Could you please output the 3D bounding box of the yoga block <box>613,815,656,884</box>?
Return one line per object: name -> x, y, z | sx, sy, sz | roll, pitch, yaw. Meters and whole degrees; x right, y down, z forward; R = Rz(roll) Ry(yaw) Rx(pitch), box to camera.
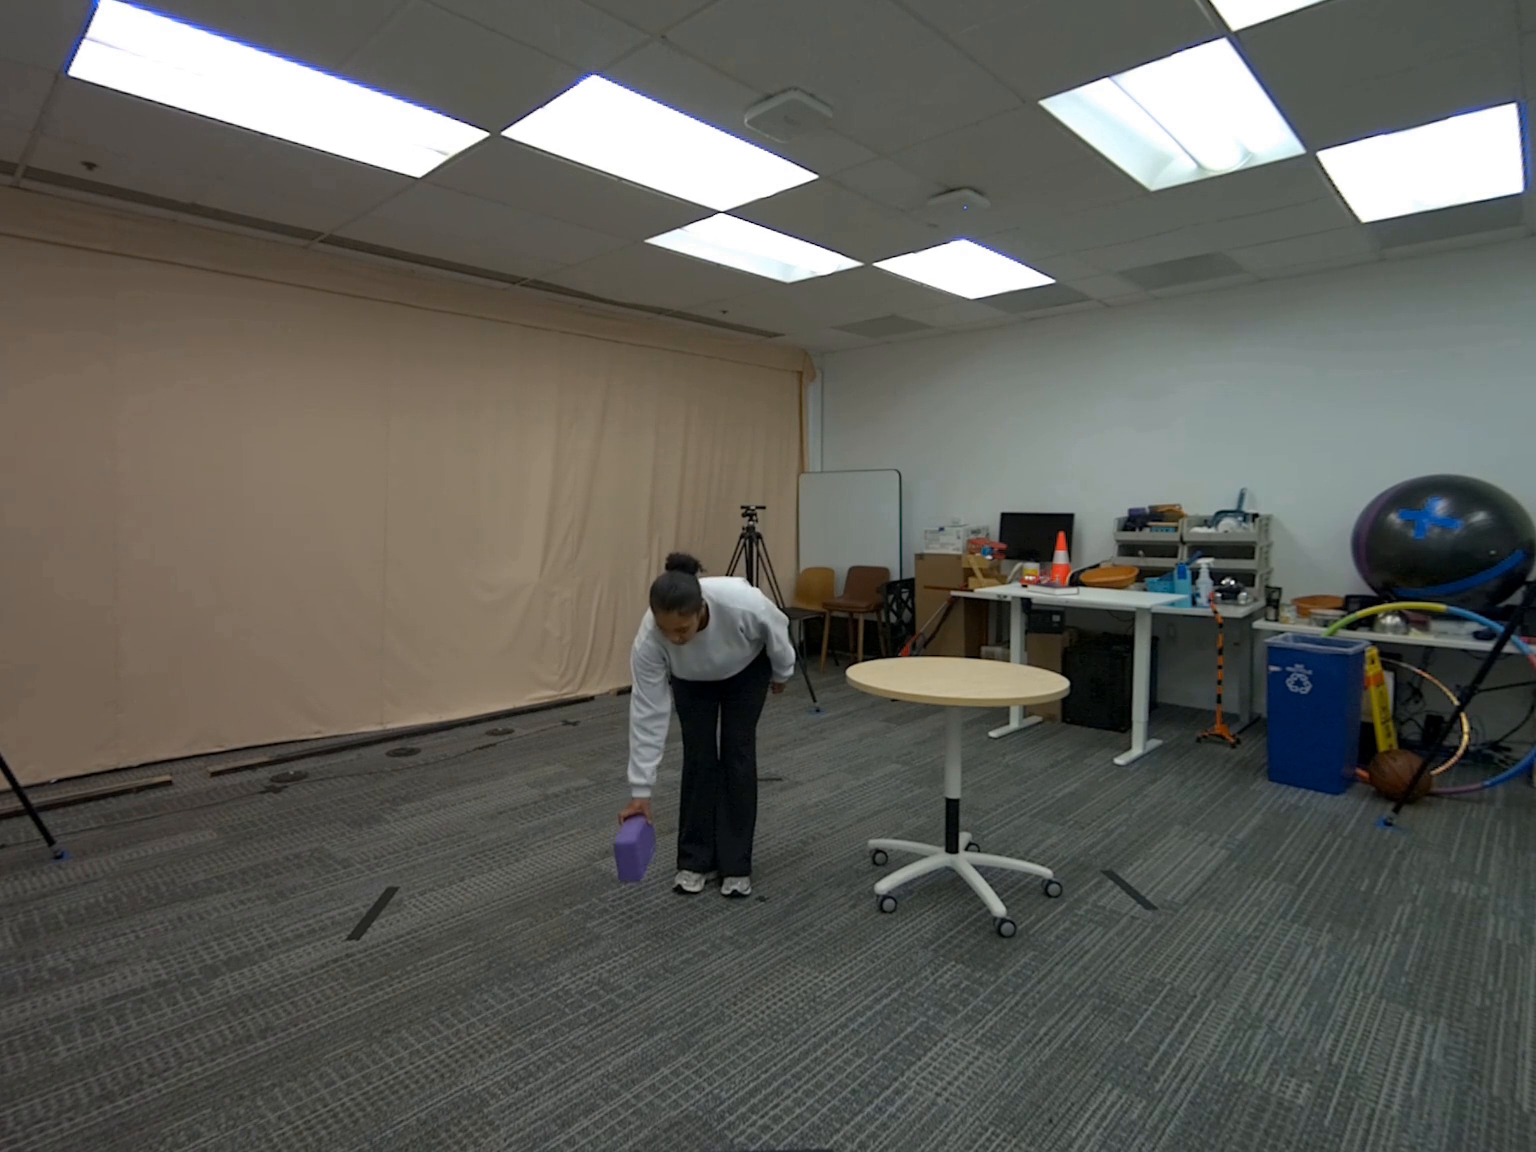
yoga block -> -0.444, 0.891, 2.826 | 0.077, 0.148, 0.230 | -6, 10, 3
